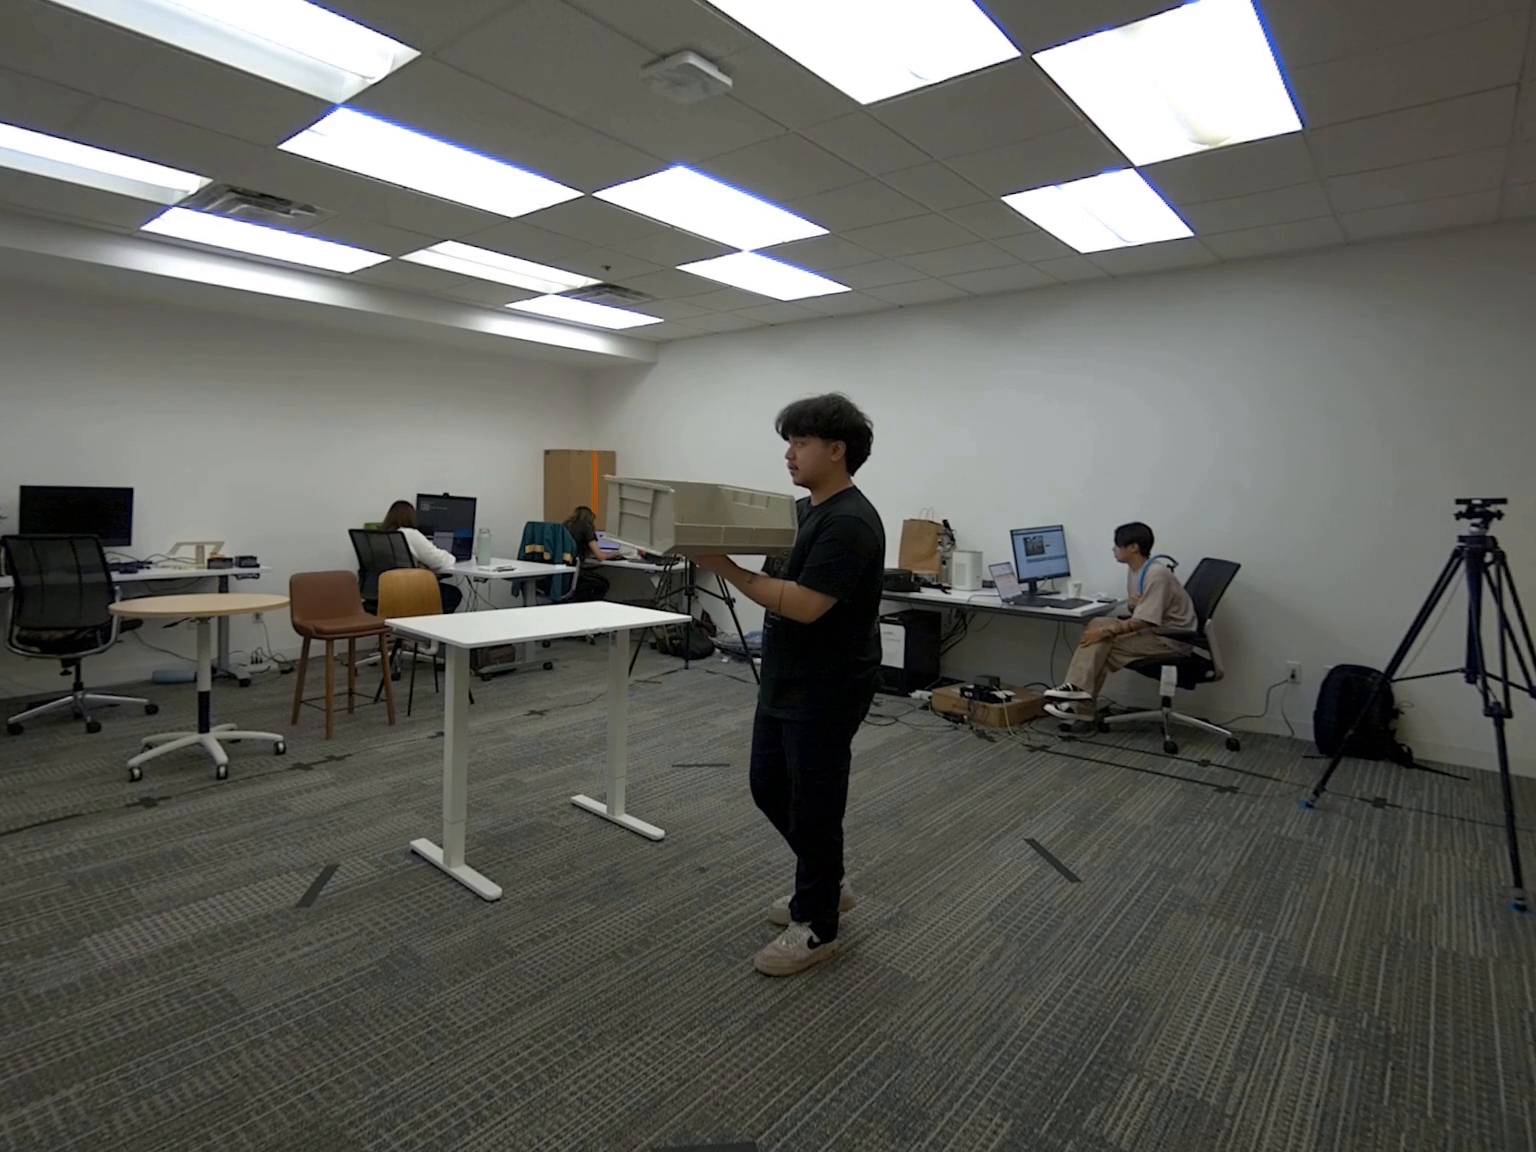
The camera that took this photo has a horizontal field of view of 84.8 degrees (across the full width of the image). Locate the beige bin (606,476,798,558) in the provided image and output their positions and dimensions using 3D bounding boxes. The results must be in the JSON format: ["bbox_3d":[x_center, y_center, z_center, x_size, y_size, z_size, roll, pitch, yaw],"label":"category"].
[{"bbox_3d":[-0.203,-0.162,2.384,0.409,0.188,0.391,-1,10,-39],"label":"beige bin"}]
